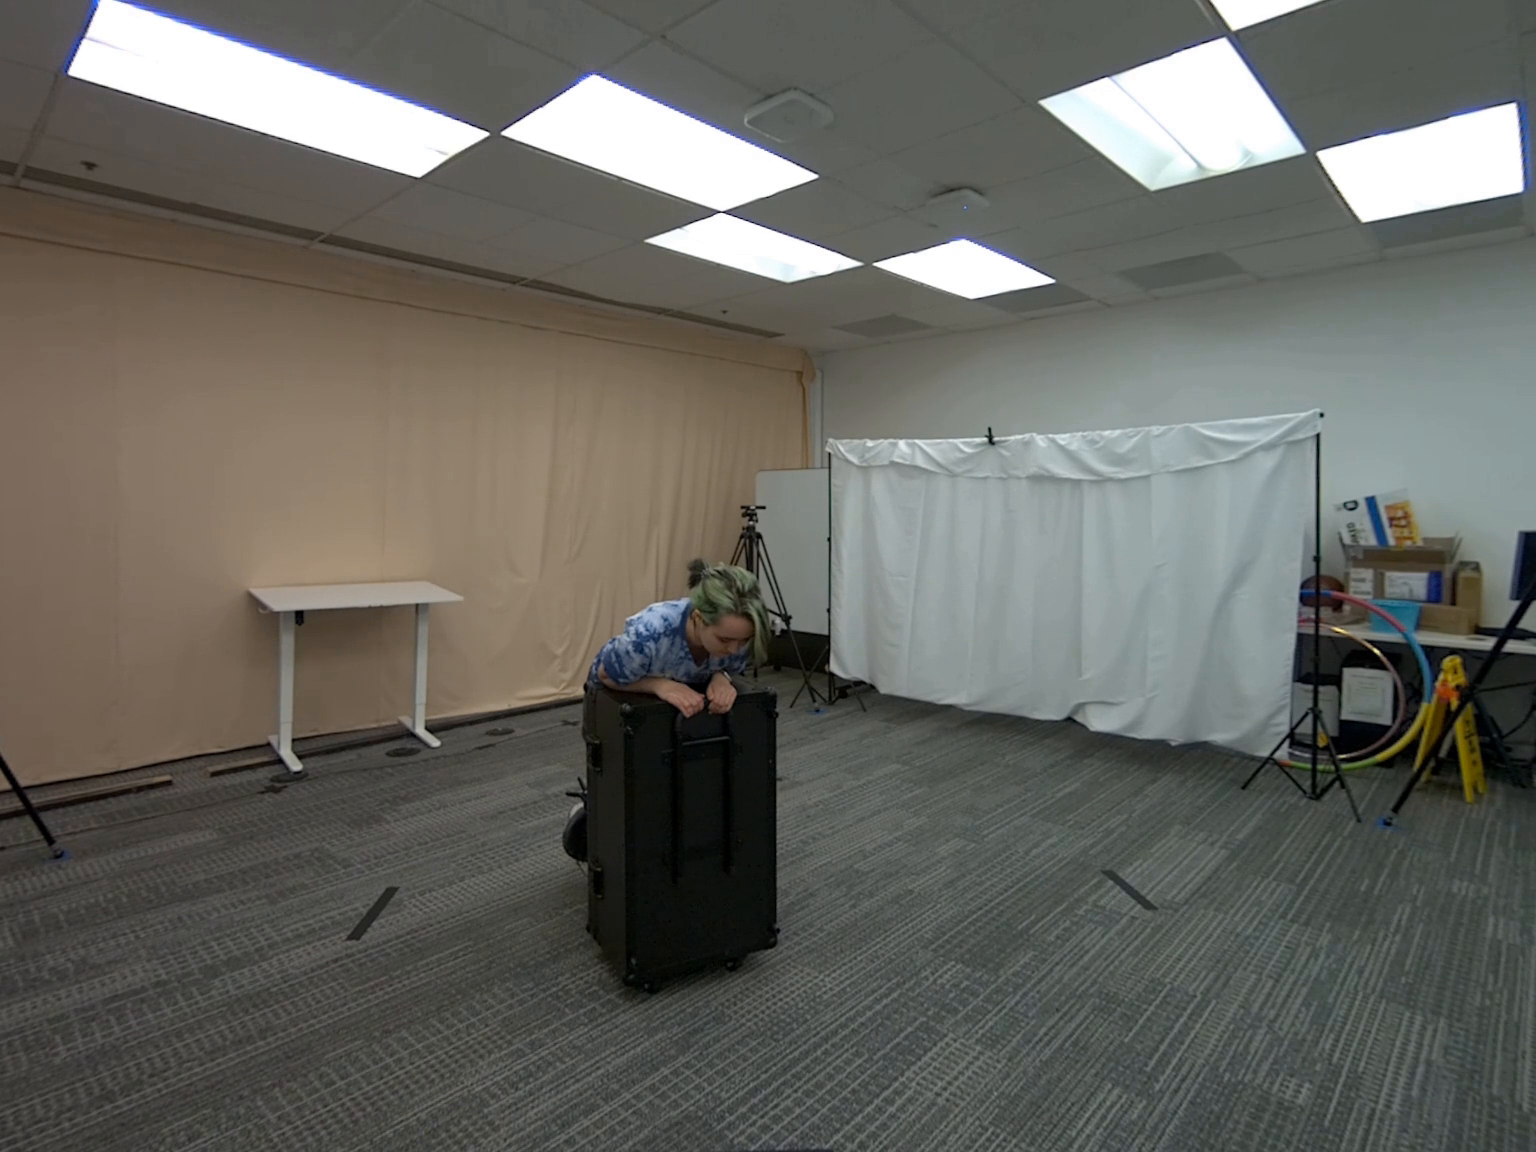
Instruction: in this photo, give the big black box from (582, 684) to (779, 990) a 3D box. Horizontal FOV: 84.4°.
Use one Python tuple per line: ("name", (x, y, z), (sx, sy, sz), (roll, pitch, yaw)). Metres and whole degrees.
("big black box", (-0.259, 0.708, 2.540), (0.508, 0.859, 0.407), (-2, 4, -28))
